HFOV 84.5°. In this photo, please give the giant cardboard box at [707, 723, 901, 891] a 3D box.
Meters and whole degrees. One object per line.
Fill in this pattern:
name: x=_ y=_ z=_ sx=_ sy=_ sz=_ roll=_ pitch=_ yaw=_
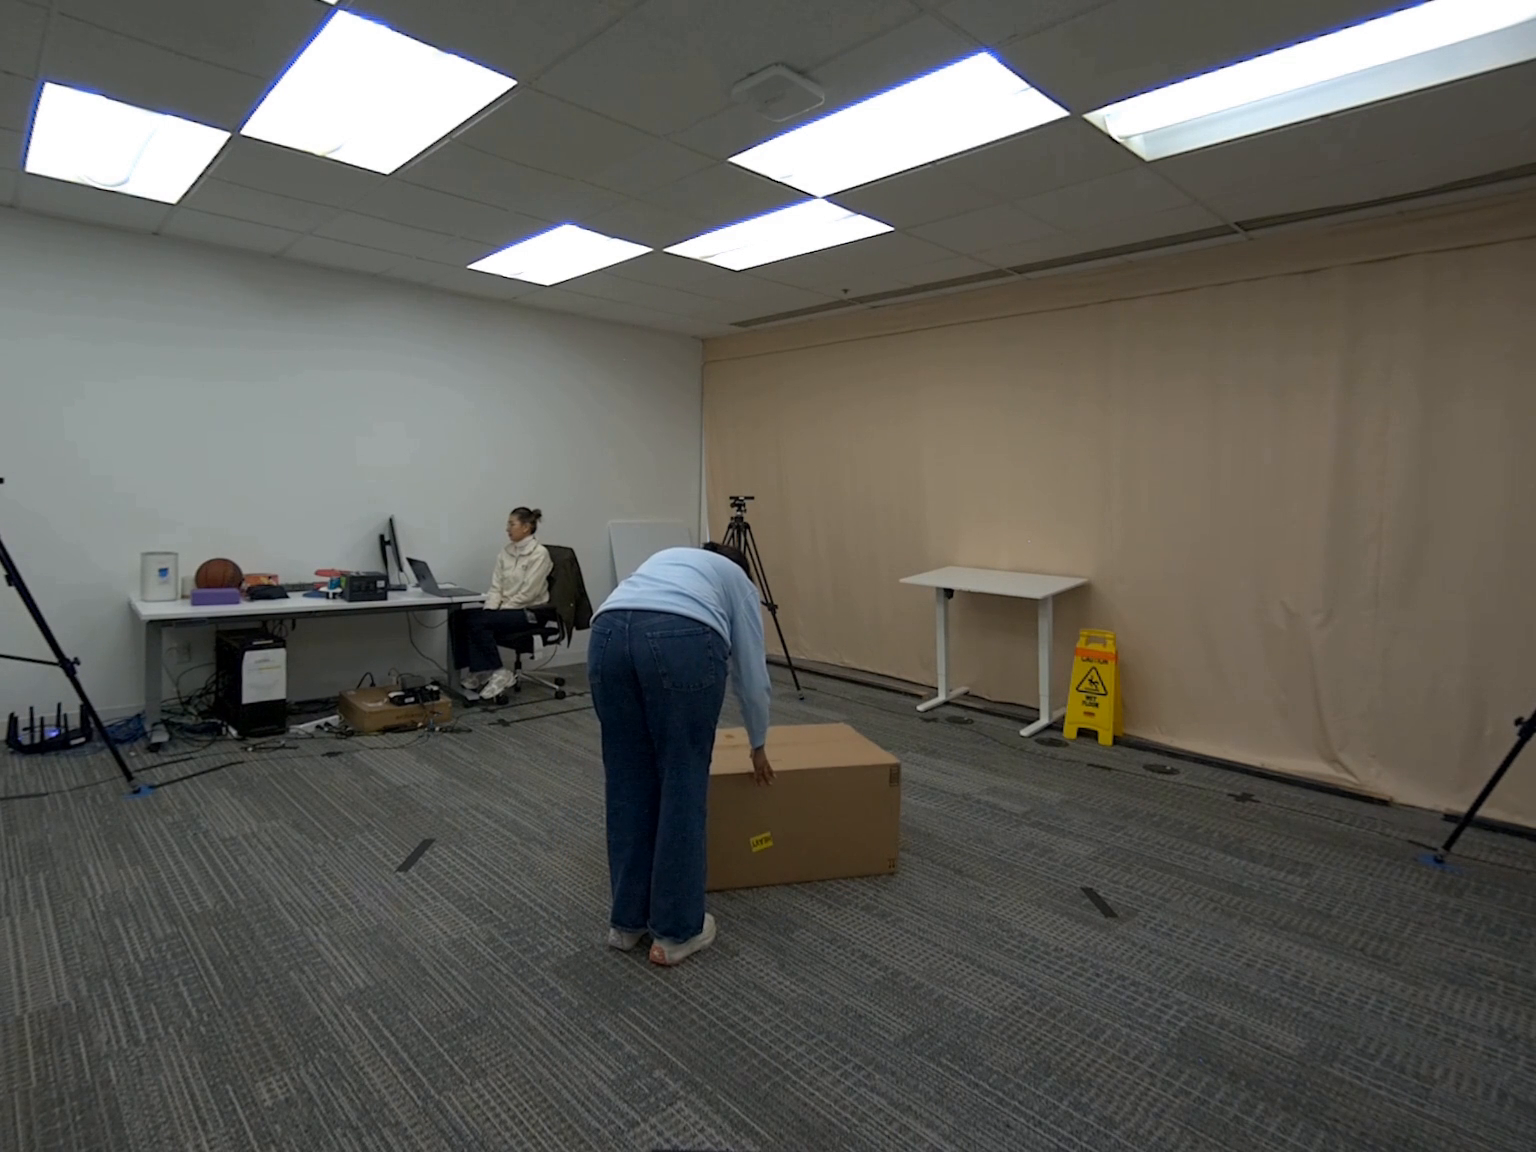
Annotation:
giant cardboard box: x=-0.082 y=0.876 z=3.291 sx=1.013 sy=0.425 sz=0.586 roll=0 pitch=4 yaw=-15
